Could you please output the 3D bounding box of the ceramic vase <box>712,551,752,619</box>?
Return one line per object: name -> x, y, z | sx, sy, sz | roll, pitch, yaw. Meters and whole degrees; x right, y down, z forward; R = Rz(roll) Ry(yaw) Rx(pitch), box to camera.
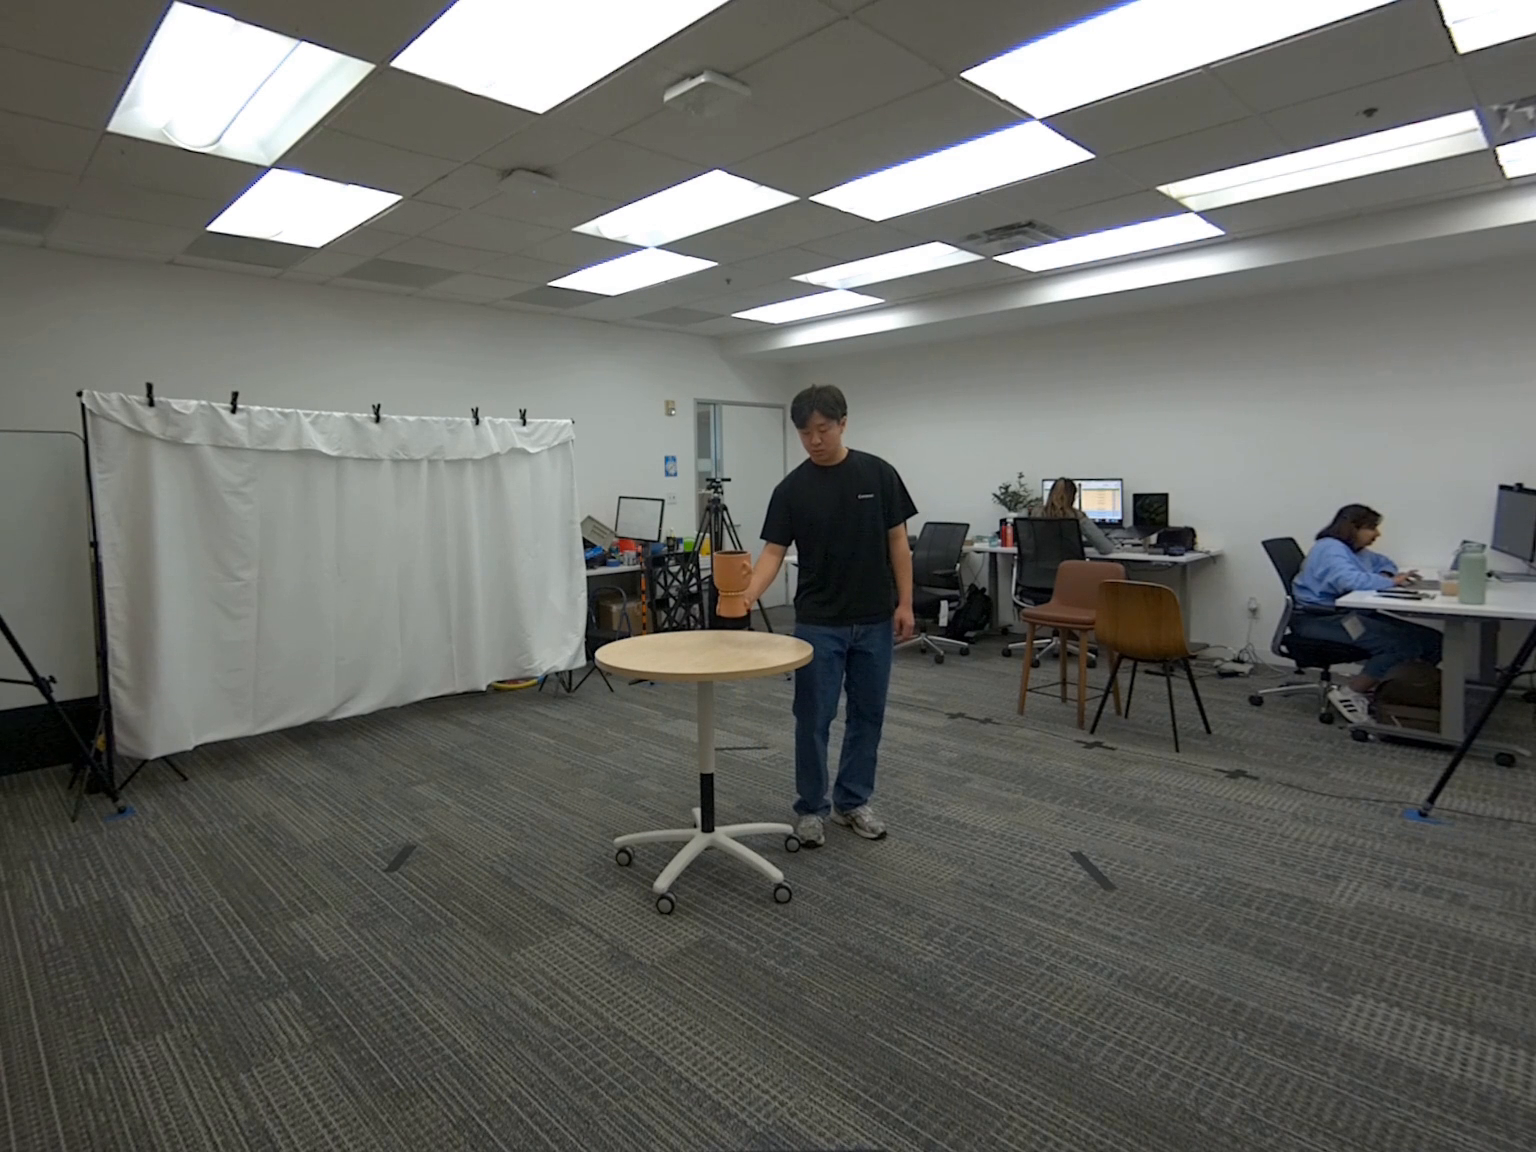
ceramic vase -> -0.120, 0.030, 3.017 | 0.134, 0.218, 0.160 | -1, 9, -1
